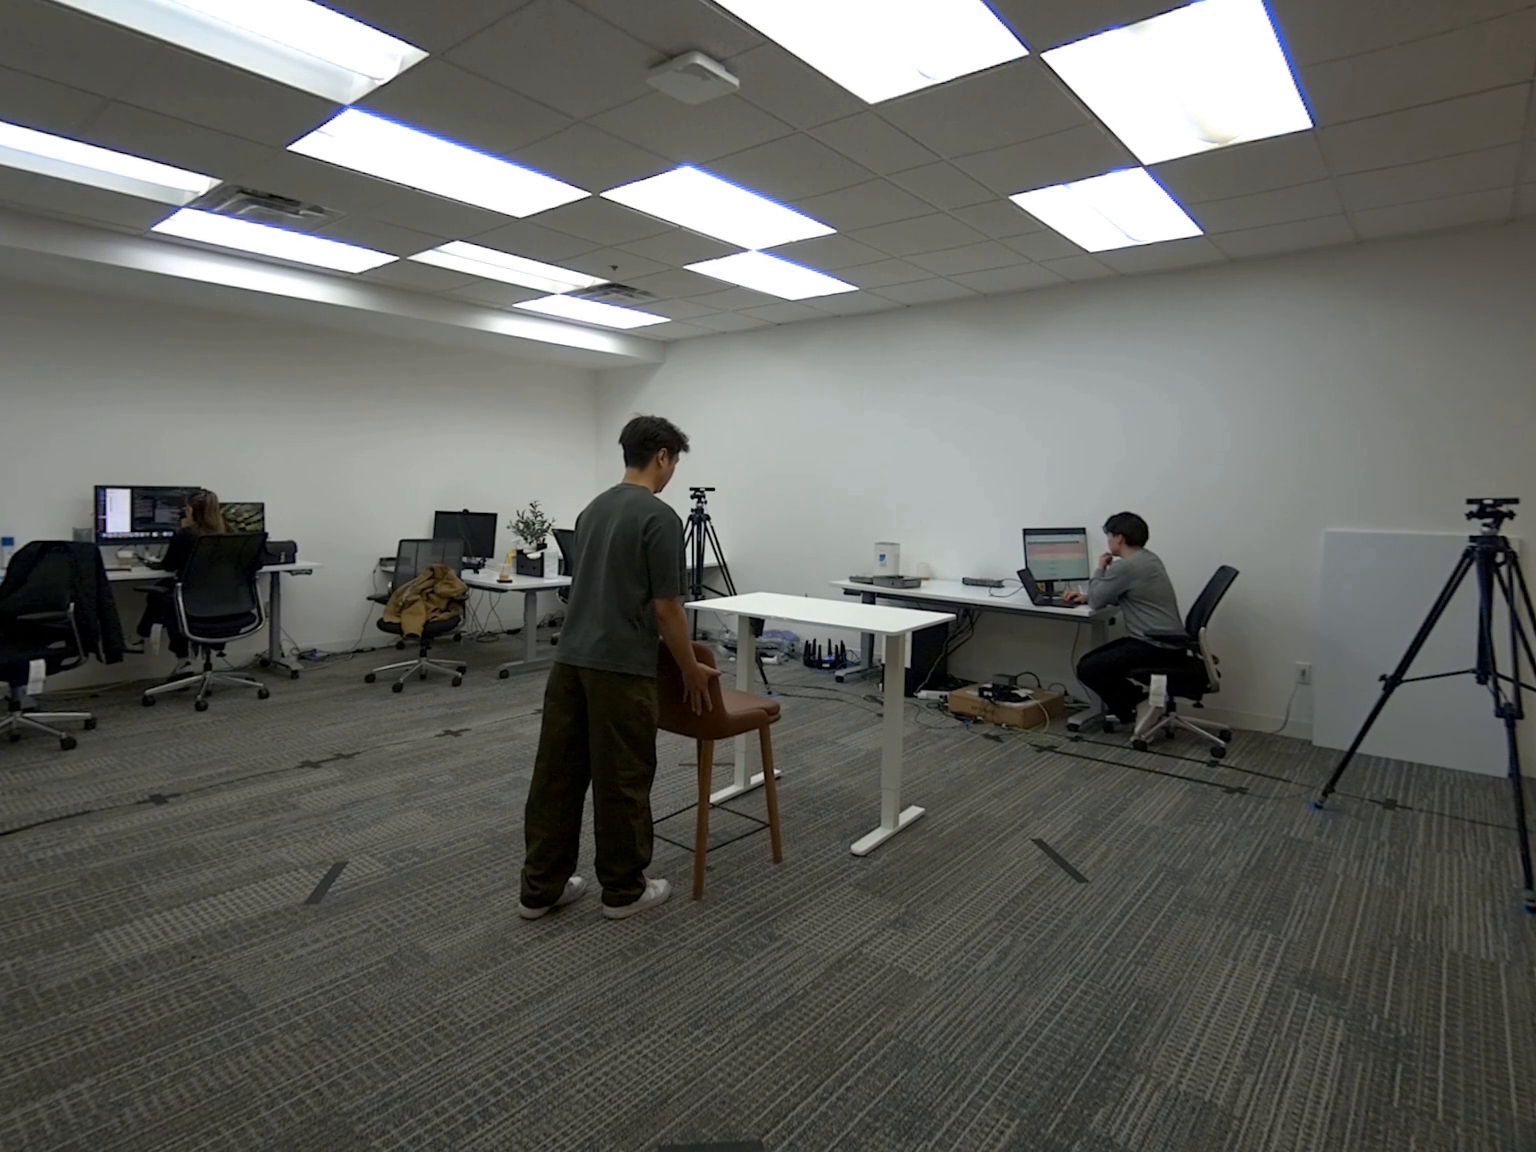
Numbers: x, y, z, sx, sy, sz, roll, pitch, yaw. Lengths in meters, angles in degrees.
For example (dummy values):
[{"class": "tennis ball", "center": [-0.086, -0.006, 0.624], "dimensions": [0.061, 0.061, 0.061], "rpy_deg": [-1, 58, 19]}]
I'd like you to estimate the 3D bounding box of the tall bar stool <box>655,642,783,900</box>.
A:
[{"class": "tall bar stool", "center": [-0.247, 0.628, 3.123], "dimensions": [0.472, 0.886, 0.454], "rpy_deg": [4, 6, 41]}]
